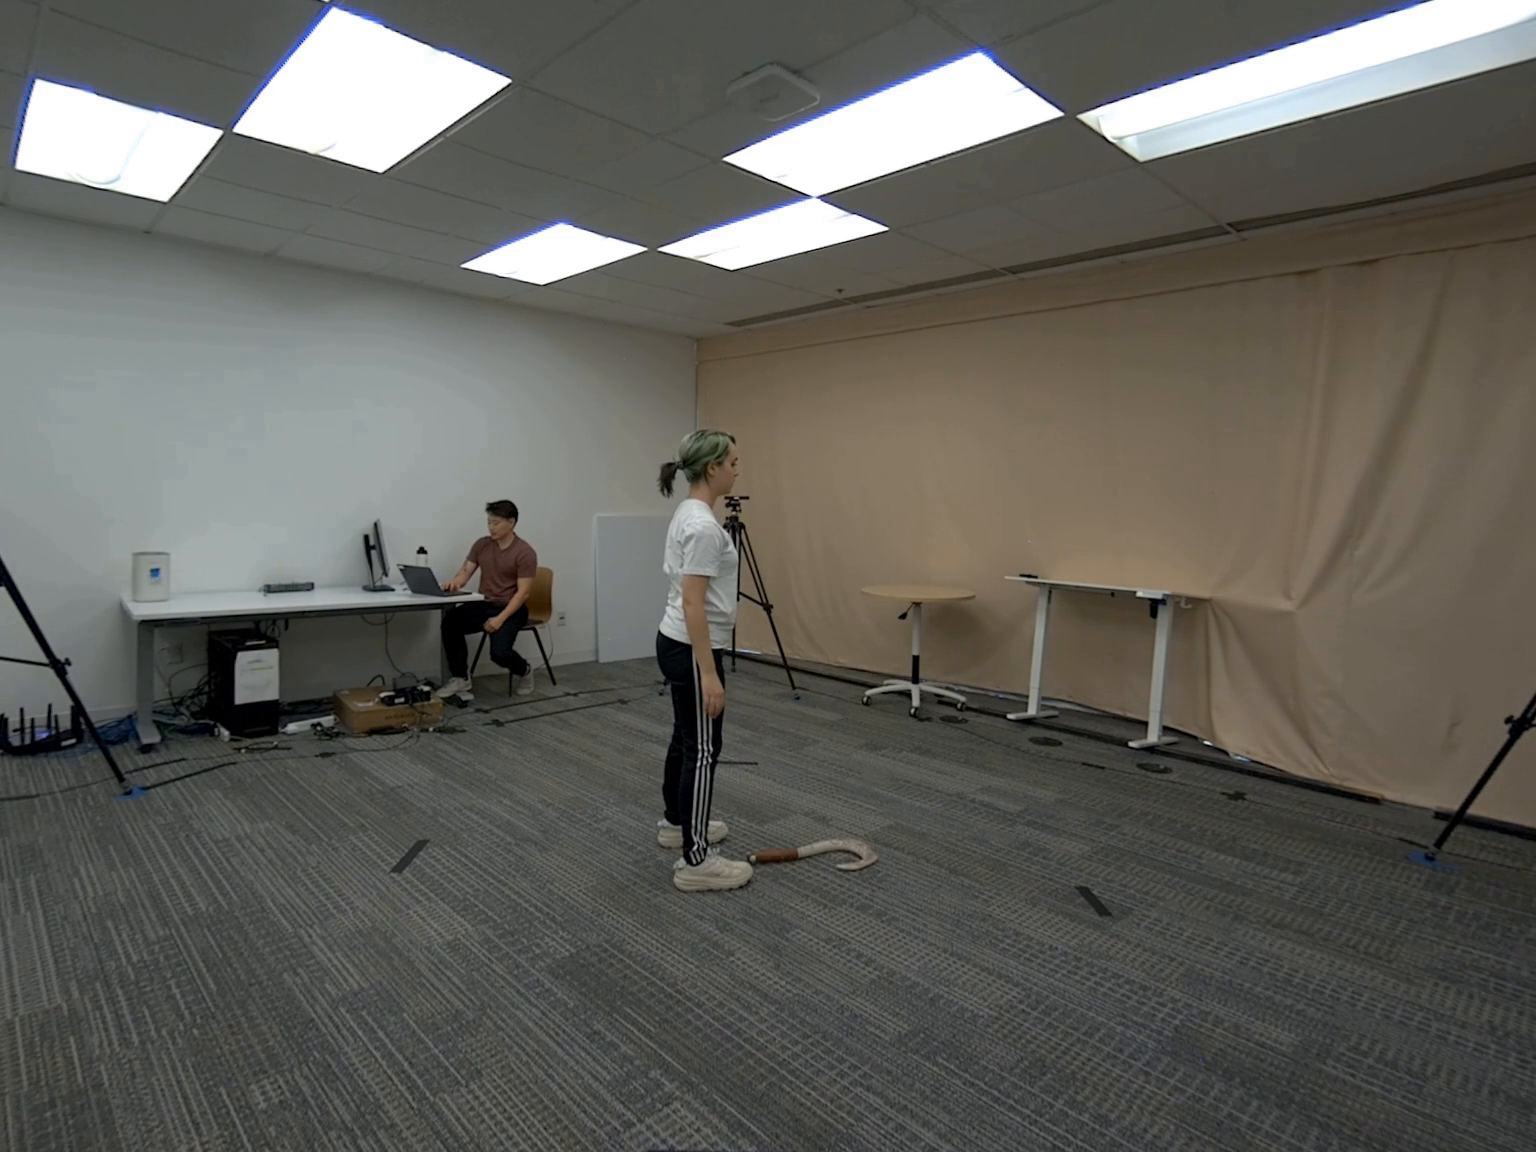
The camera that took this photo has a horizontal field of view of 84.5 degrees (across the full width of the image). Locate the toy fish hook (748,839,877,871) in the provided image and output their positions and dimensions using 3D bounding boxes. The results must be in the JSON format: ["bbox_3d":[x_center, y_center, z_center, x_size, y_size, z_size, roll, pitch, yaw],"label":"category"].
[{"bbox_3d":[0.171,1.079,3.222,0.499,0.048,0.228,-1,5,-18],"label":"toy fish hook"}]
